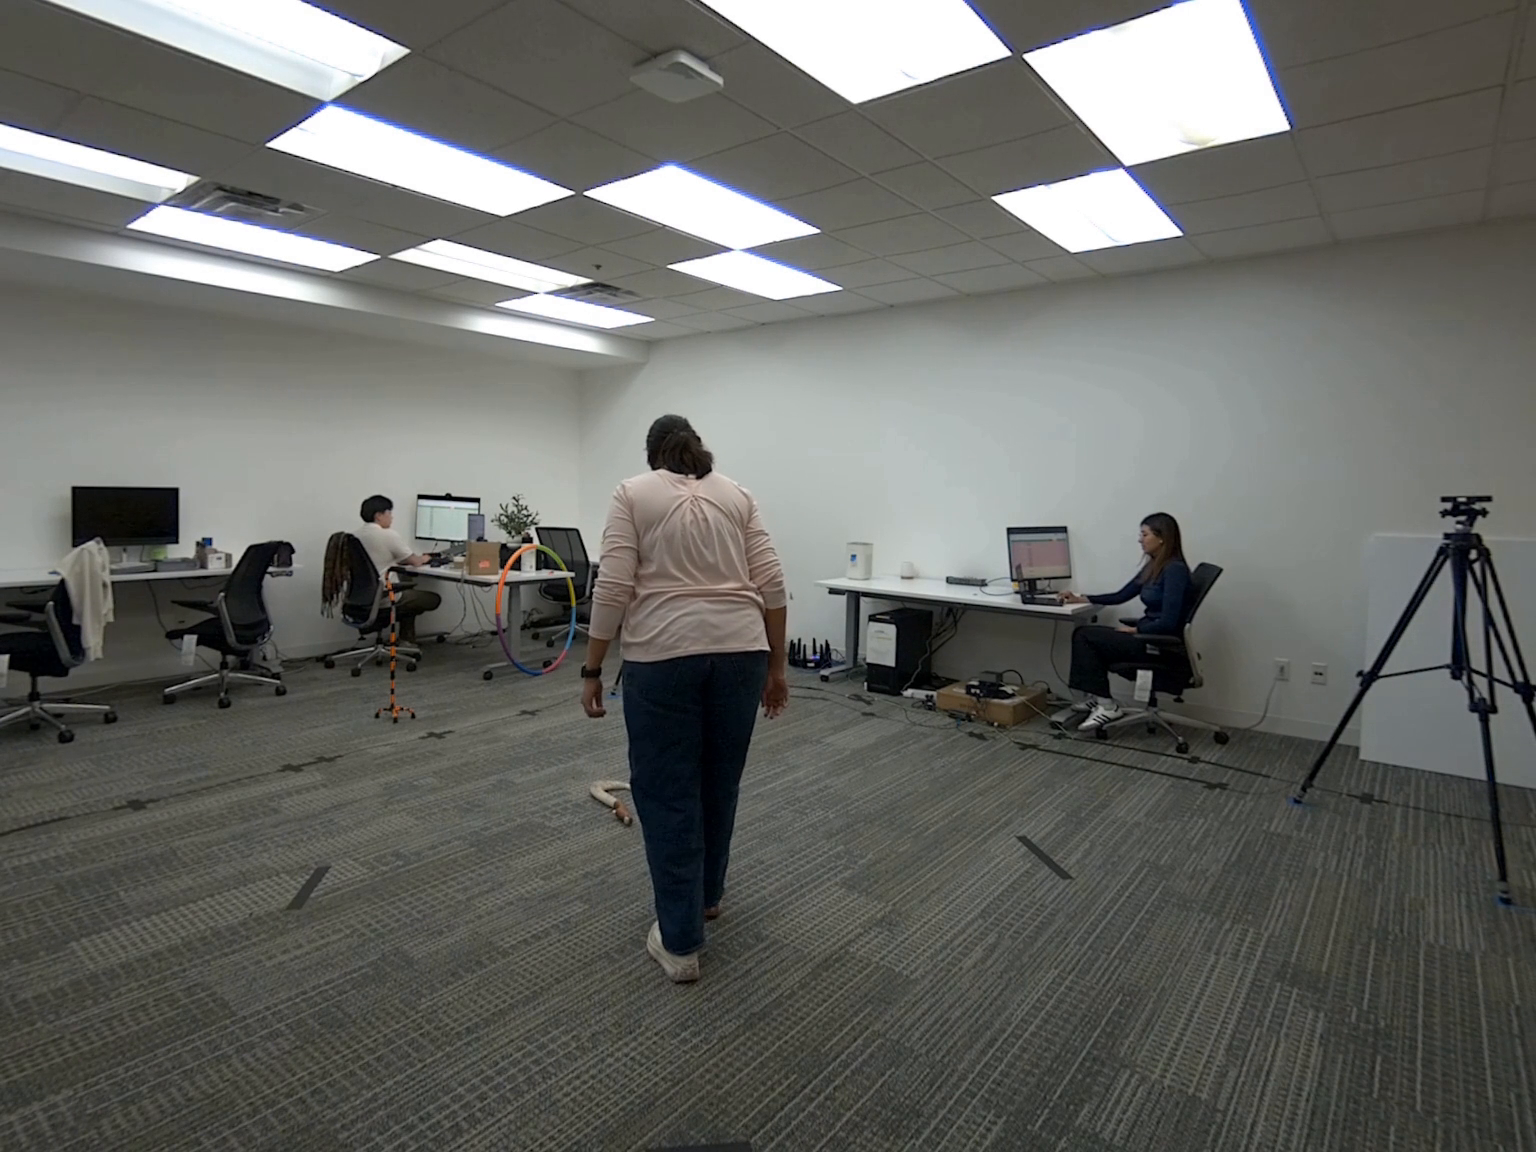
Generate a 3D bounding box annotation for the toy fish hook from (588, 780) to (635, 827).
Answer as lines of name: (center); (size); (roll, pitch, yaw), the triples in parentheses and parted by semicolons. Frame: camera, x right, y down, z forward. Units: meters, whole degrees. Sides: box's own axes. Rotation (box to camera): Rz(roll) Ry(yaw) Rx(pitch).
toy fish hook: (-0.641, 0.976, 3.719); (0.219, 0.048, 0.521); (-3, 7, -25)
